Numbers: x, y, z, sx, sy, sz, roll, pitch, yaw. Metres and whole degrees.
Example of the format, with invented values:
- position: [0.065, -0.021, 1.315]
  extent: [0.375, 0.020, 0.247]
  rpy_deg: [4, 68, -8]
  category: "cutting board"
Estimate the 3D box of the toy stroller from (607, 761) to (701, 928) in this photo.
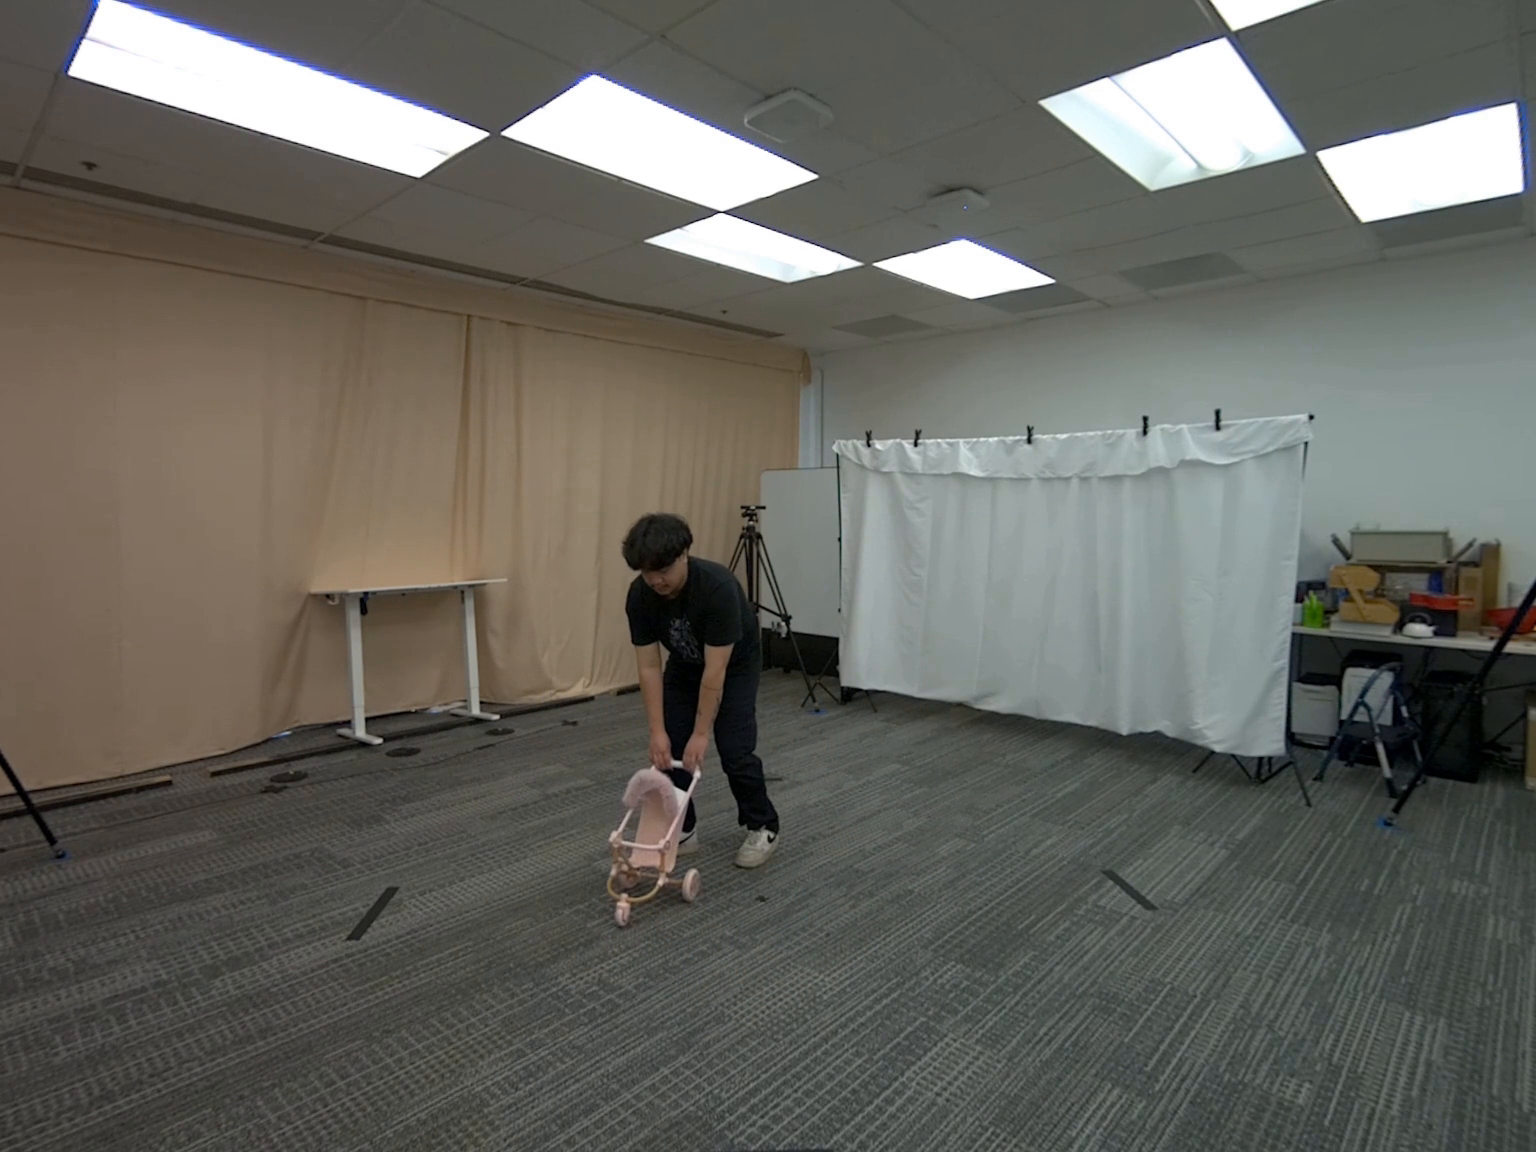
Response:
- position: [-0.412, 0.924, 2.955]
  extent: [0.289, 0.538, 0.330]
  rpy_deg: [1, -11, 27]
  category: "toy stroller"
